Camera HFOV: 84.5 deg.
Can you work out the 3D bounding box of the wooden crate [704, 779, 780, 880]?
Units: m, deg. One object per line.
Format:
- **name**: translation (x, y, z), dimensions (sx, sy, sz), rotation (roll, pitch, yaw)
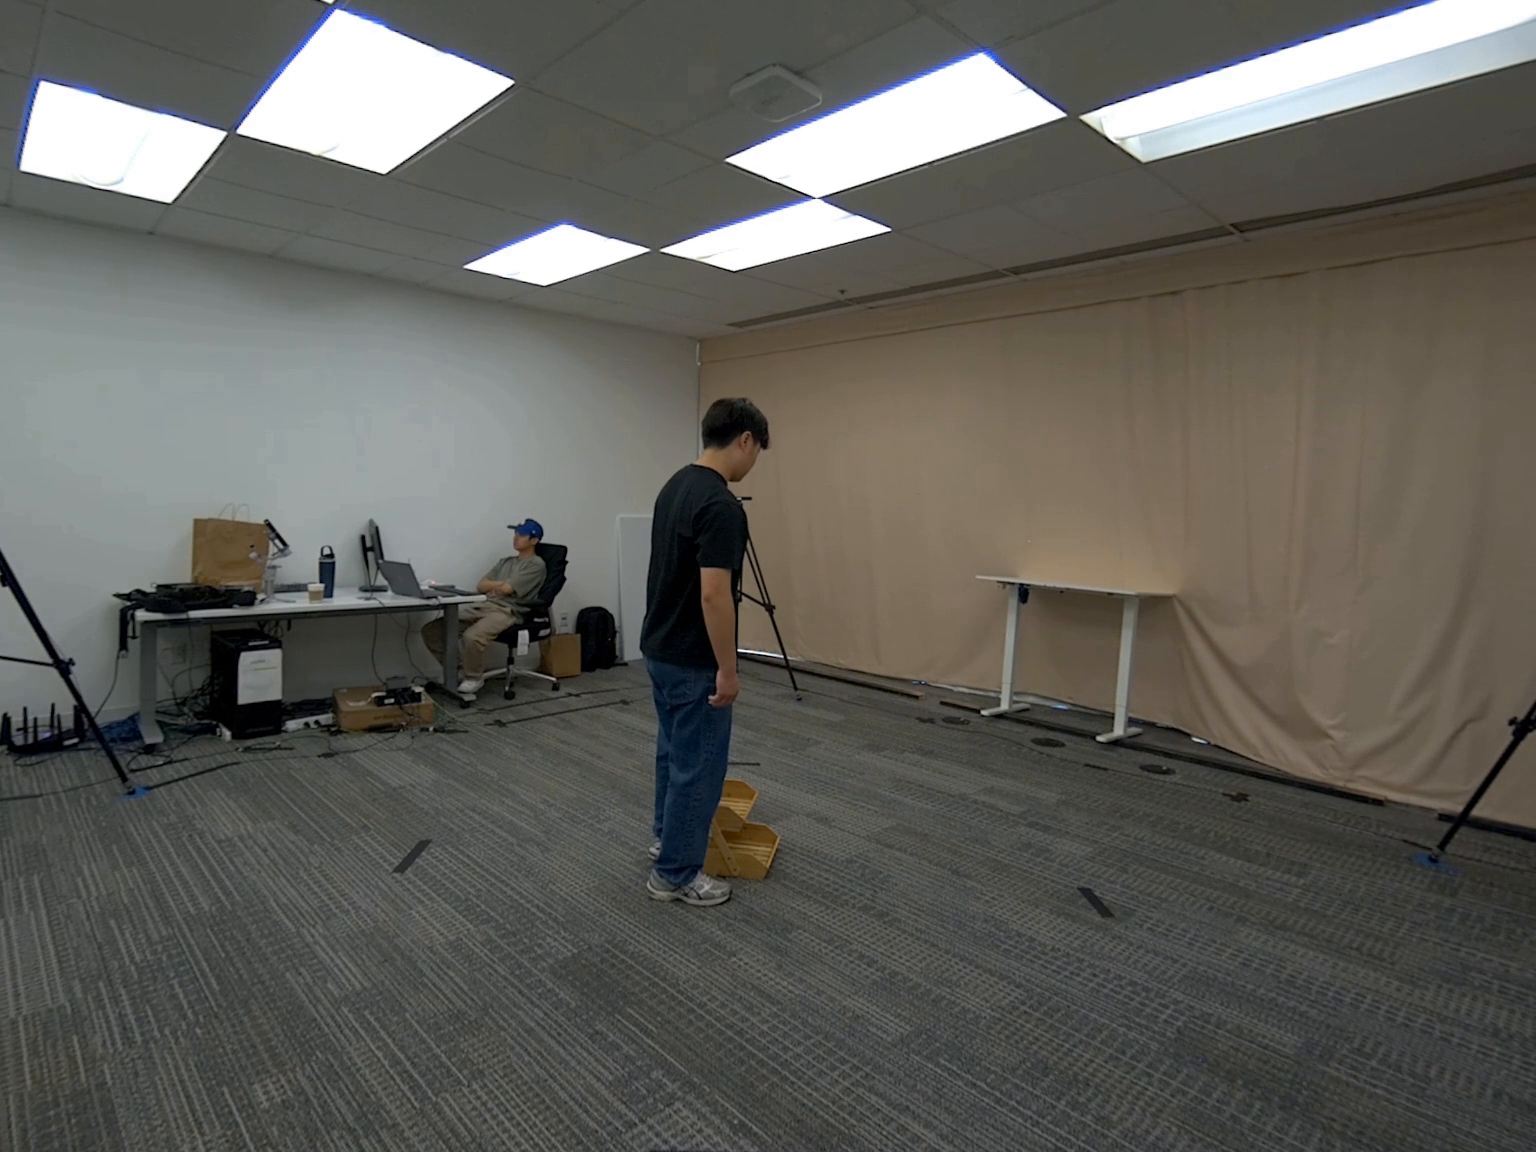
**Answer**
- **wooden crate**: translation (-0.117, 0.964, 3.248), dimensions (0.304, 0.272, 0.323), rotation (2, 4, 9)
